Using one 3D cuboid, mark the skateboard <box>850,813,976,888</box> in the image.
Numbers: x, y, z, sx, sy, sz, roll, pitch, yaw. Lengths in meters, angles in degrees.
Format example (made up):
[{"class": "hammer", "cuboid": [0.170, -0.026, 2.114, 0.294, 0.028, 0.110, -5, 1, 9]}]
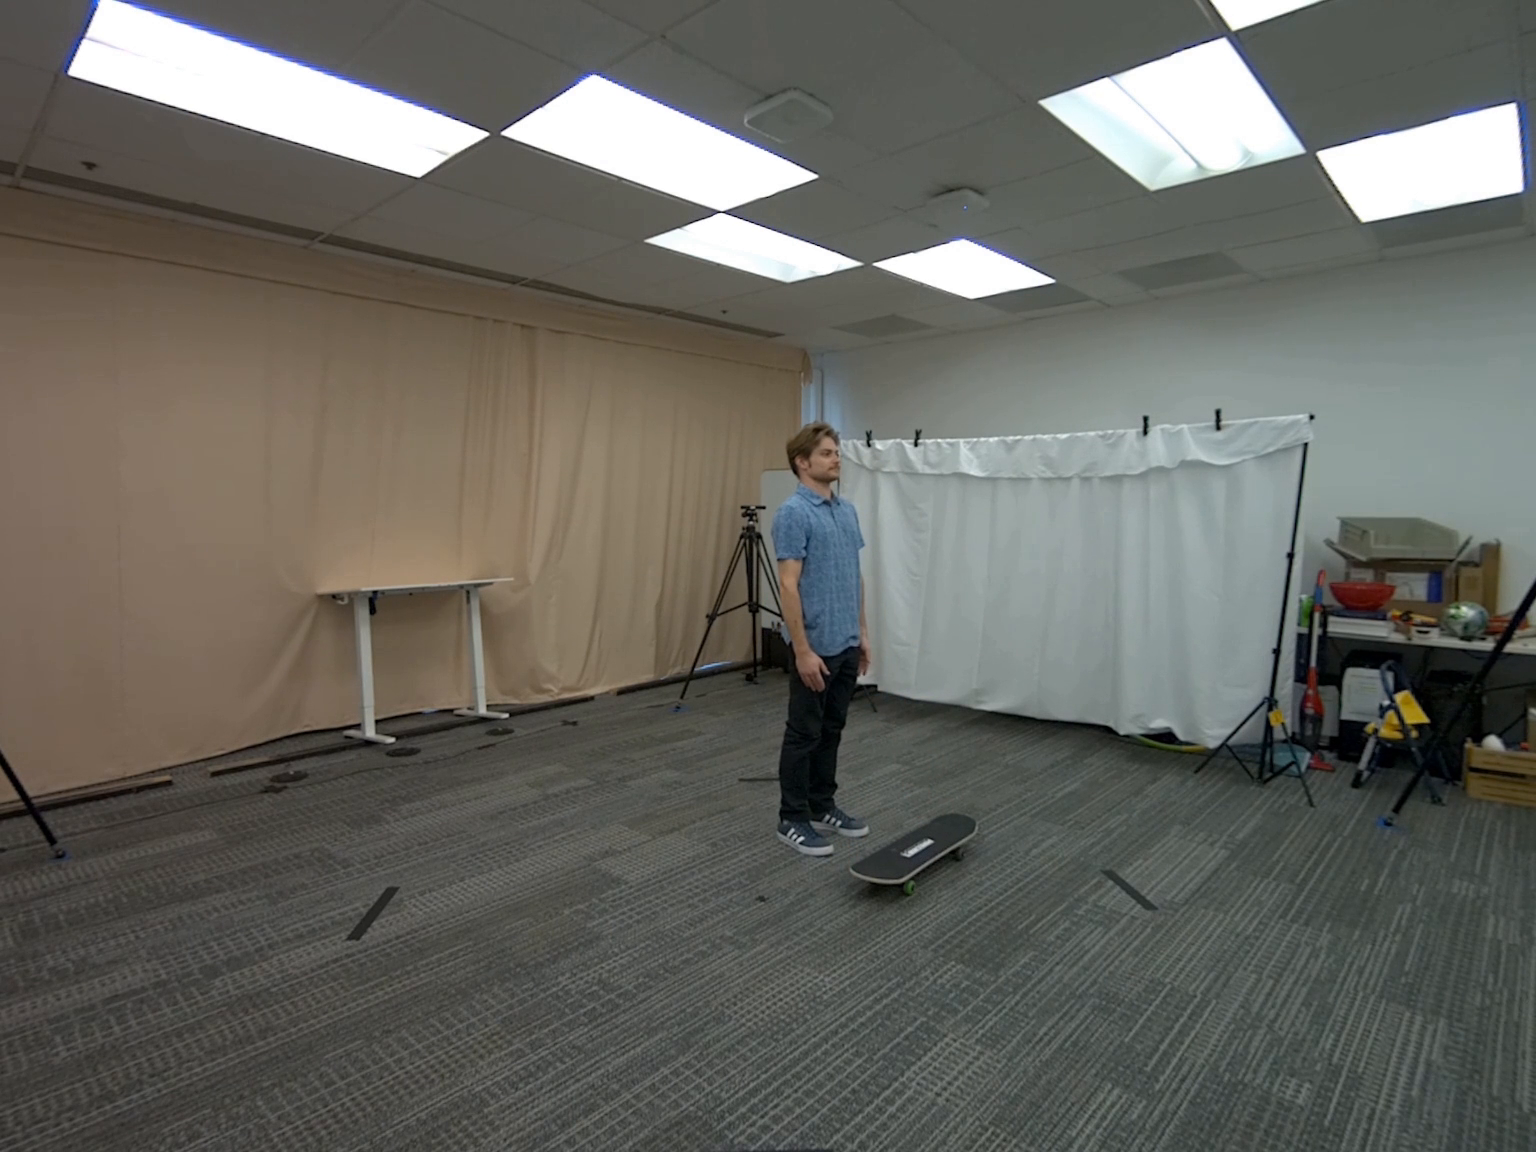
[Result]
[{"class": "skateboard", "cuboid": [0.572, 1.068, 3.207, 0.200, 0.110, 0.762, 3, 6, 40]}]
